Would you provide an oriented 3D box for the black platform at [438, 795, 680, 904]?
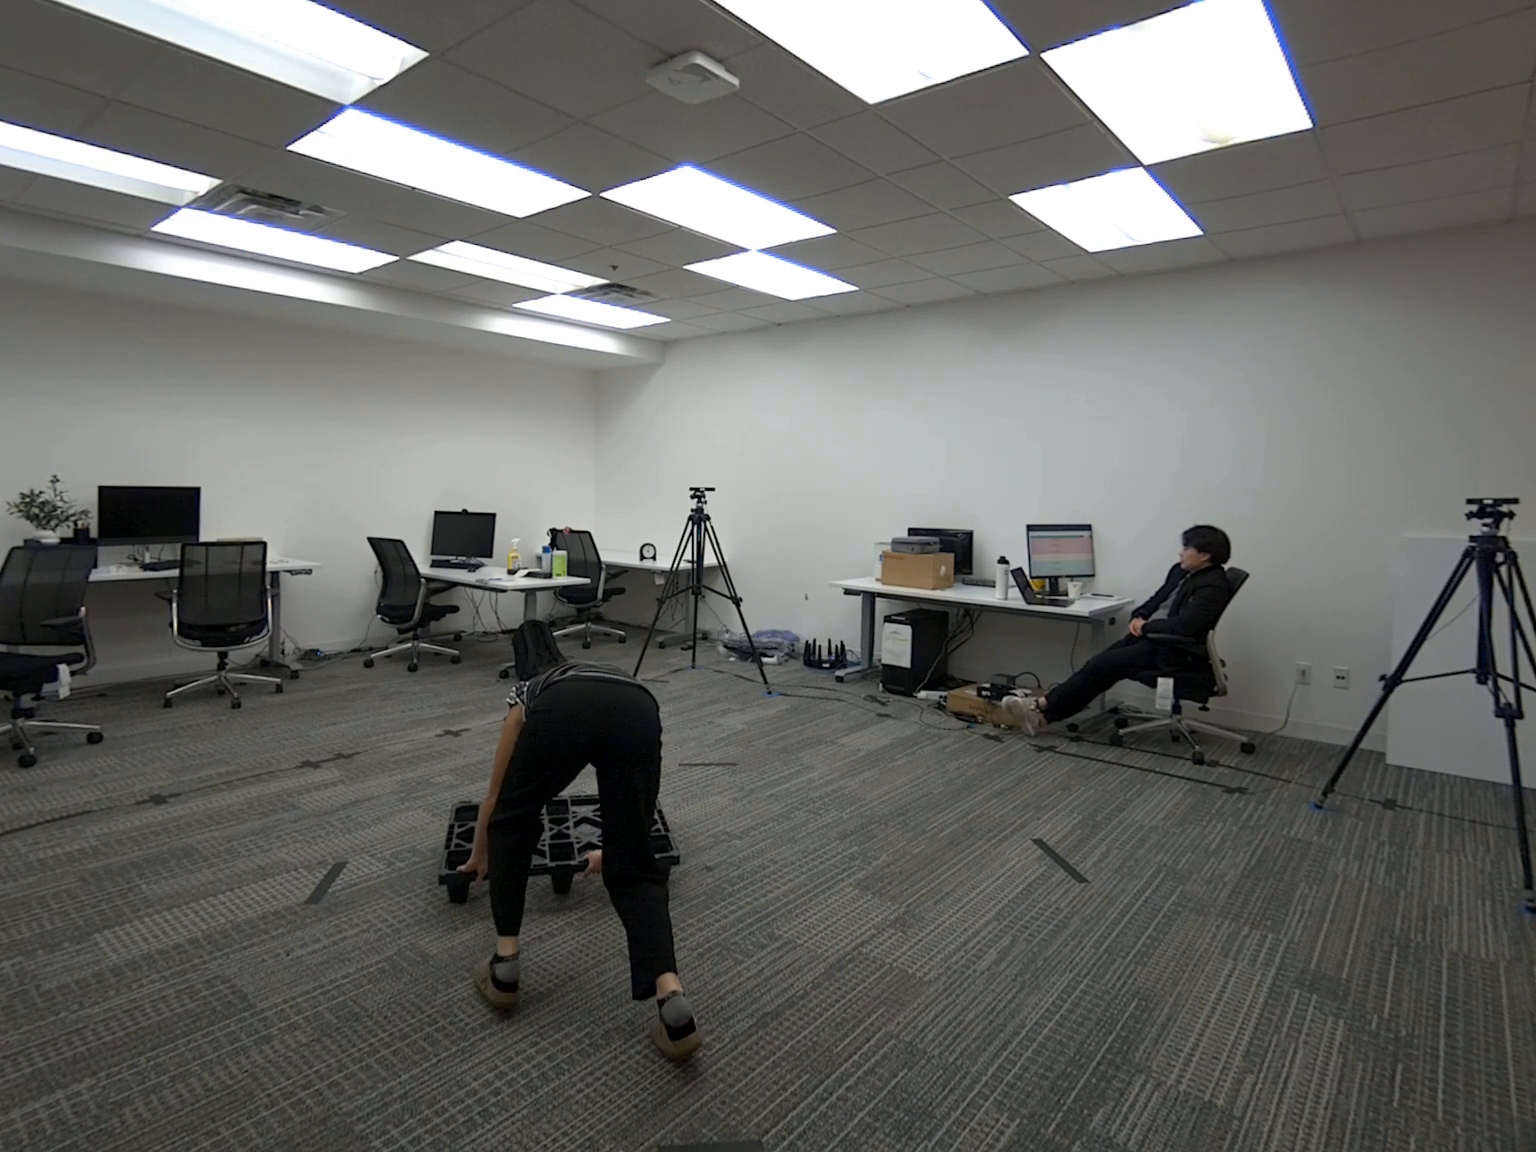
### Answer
[{"bbox_3d":[-0.777,0.982,3.123,0.794,0.142,0.617,-1,7,-14],"label":"black platform"}]
